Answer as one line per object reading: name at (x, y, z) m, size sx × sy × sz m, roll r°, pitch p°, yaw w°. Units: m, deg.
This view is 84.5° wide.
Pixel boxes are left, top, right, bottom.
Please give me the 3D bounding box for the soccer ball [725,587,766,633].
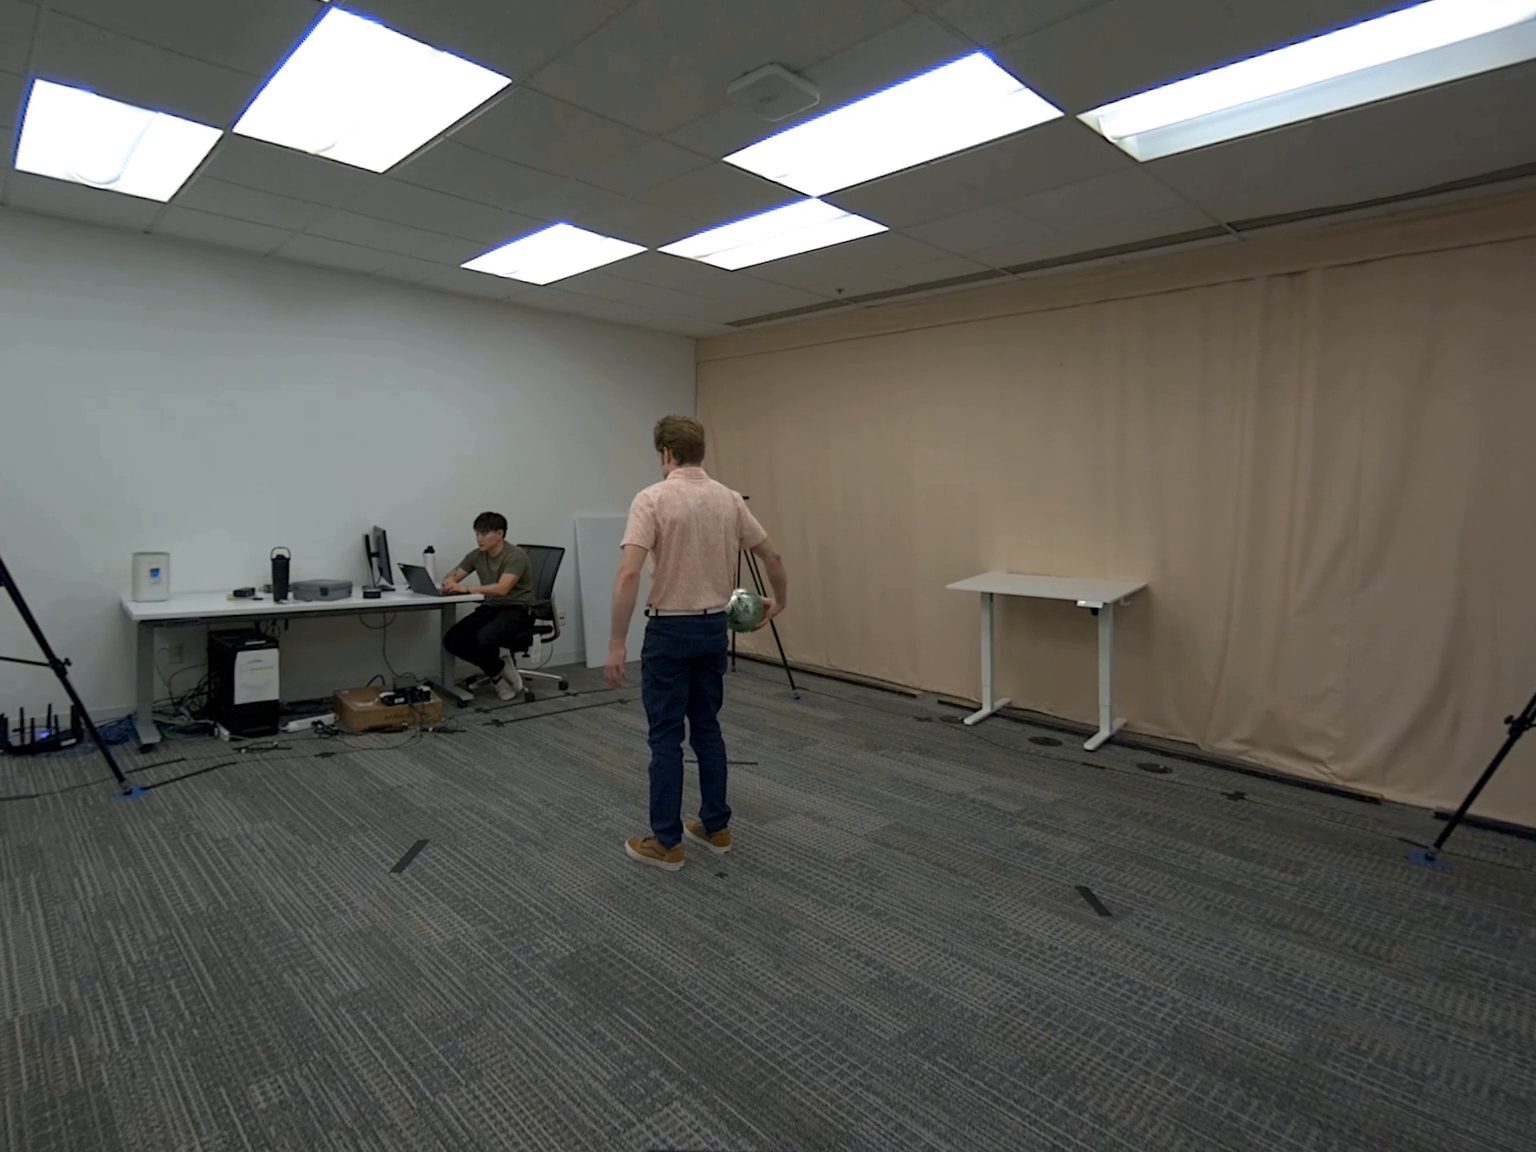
soccer ball at (-0.129, 0.137, 3.504) m, size 0.187 × 0.187 × 0.188 m, roll 1°, pitch 4°, yaw -1°
